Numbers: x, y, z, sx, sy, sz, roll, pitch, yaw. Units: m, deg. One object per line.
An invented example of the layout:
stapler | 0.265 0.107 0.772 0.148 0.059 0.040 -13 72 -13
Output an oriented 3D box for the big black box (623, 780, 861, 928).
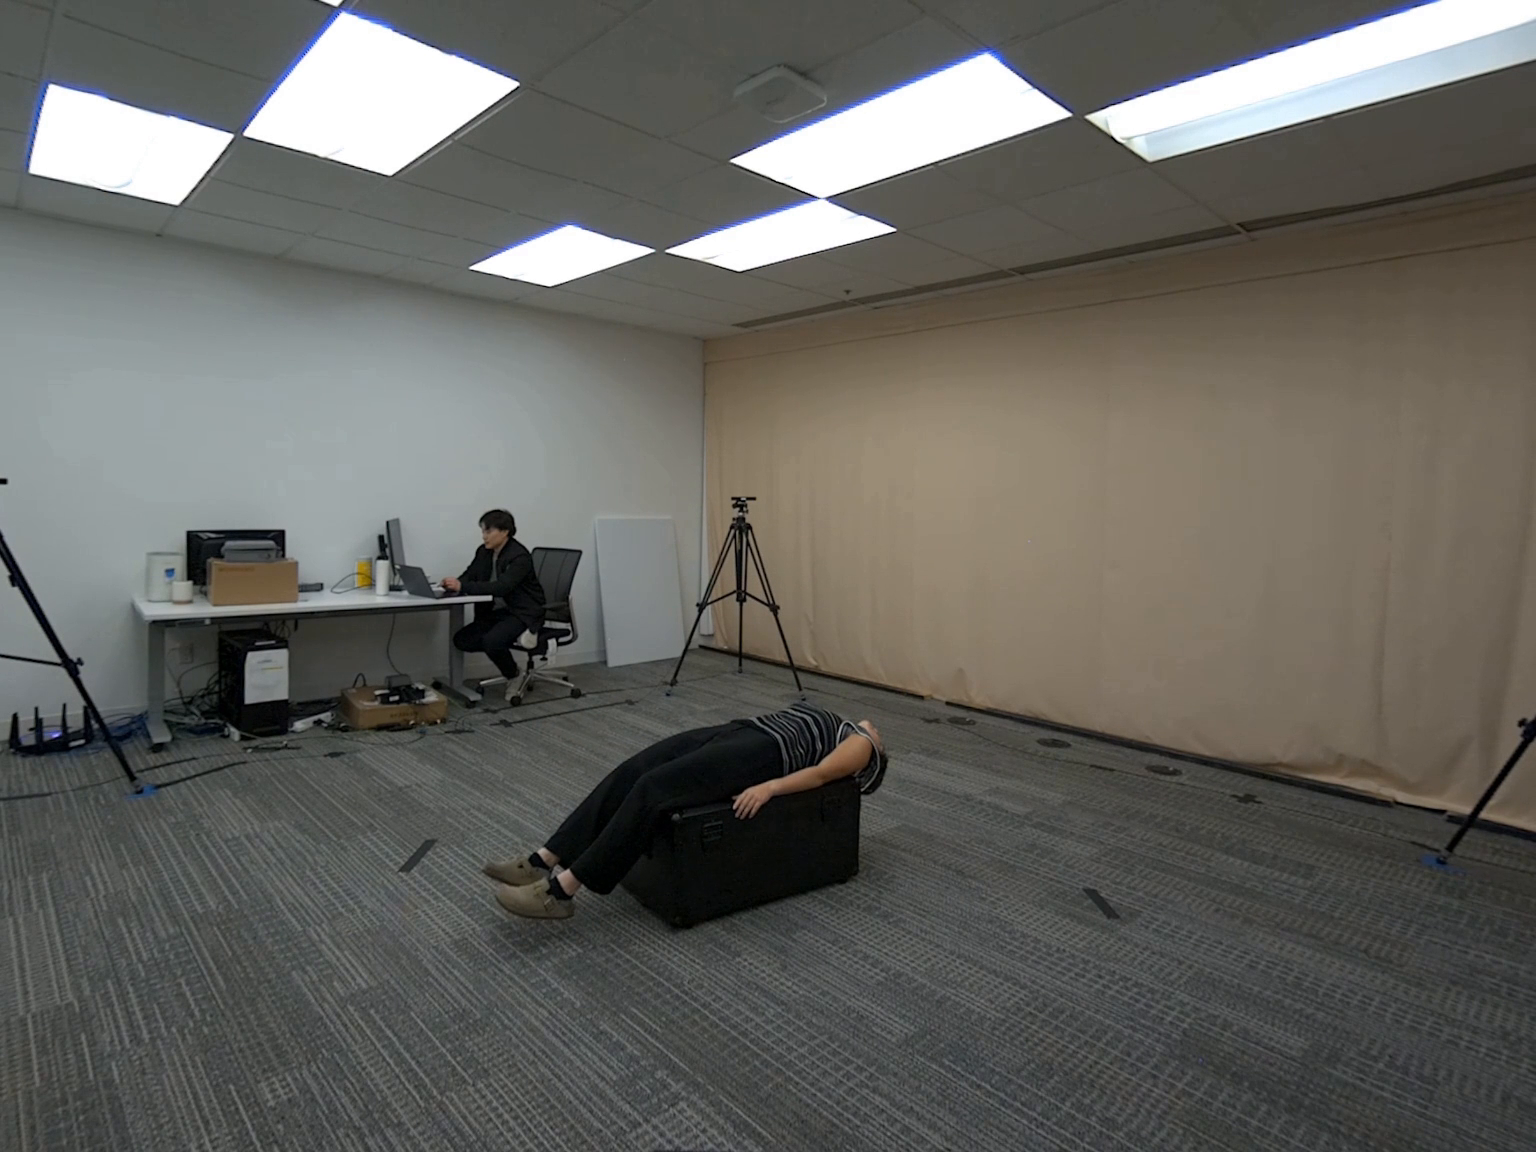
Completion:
big black box | -0.095 0.927 3.091 0.843 0.395 0.533 -3 4 -33
